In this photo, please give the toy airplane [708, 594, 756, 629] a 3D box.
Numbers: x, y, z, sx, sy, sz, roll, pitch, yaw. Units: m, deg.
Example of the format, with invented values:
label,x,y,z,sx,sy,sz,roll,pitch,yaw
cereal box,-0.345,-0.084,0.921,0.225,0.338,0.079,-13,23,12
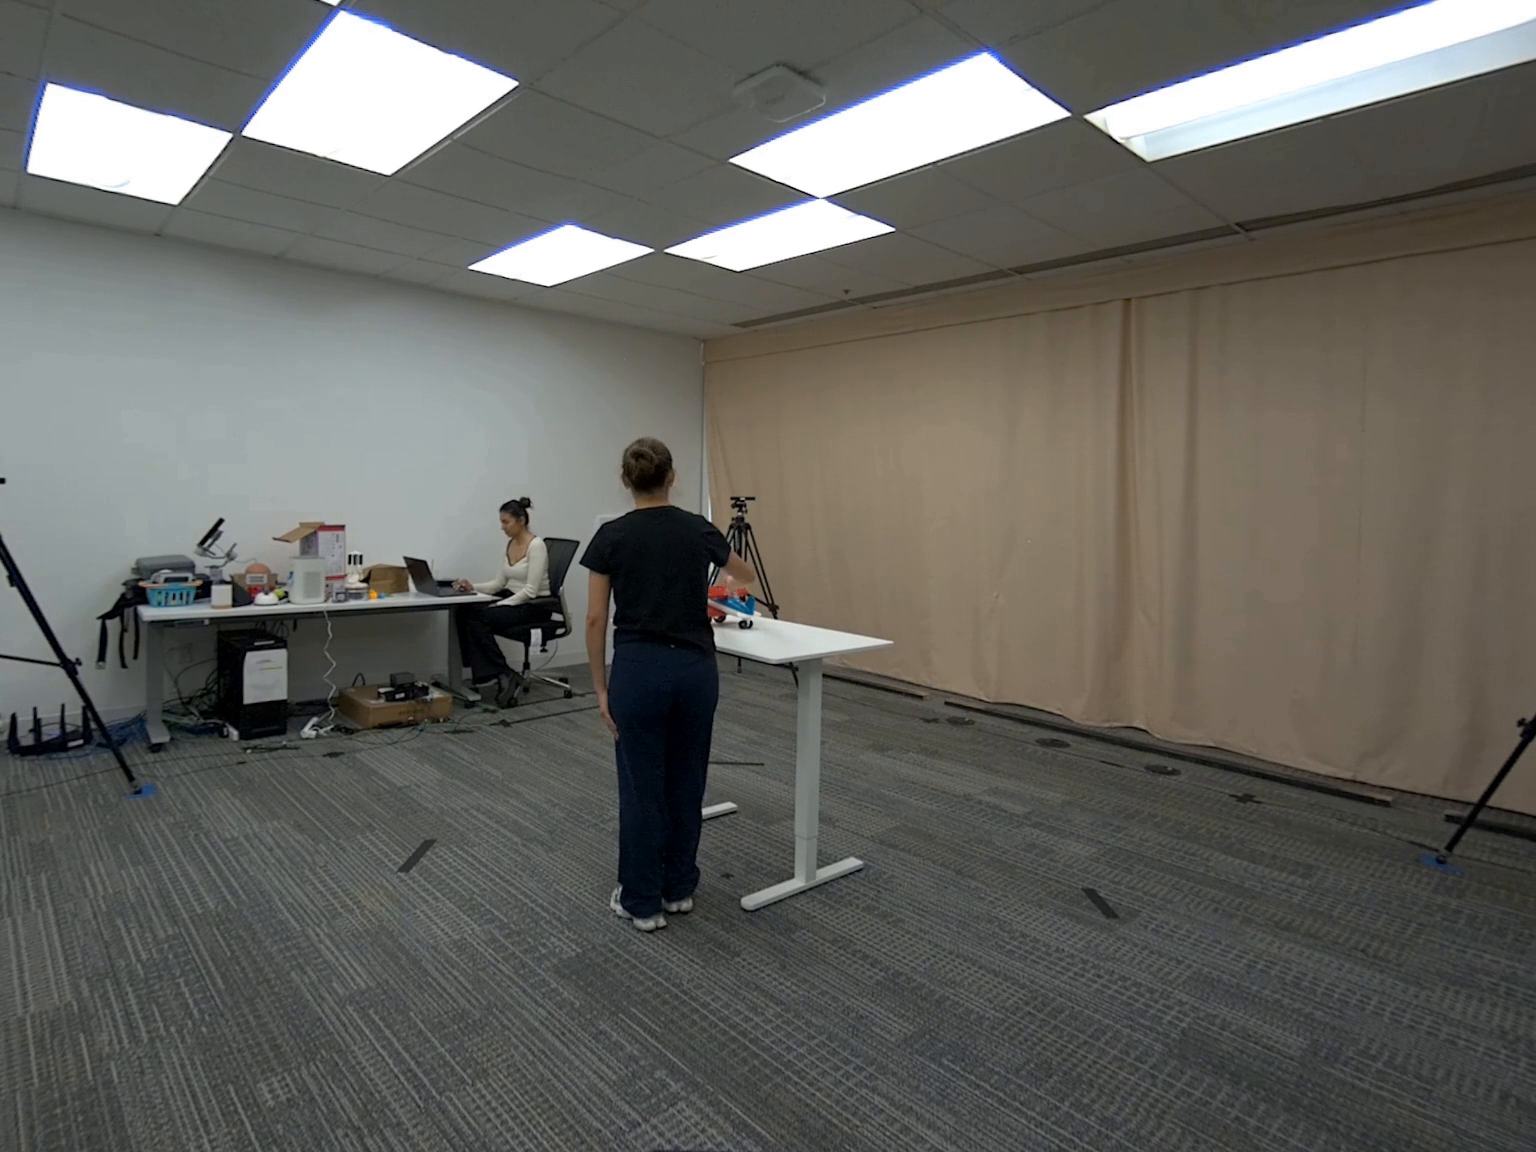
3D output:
label,x,y,z,sx,sy,sz,roll,pitch,yaw
toy airplane,-0.156,0.125,3.373,0.262,0.156,0.249,2,4,11
